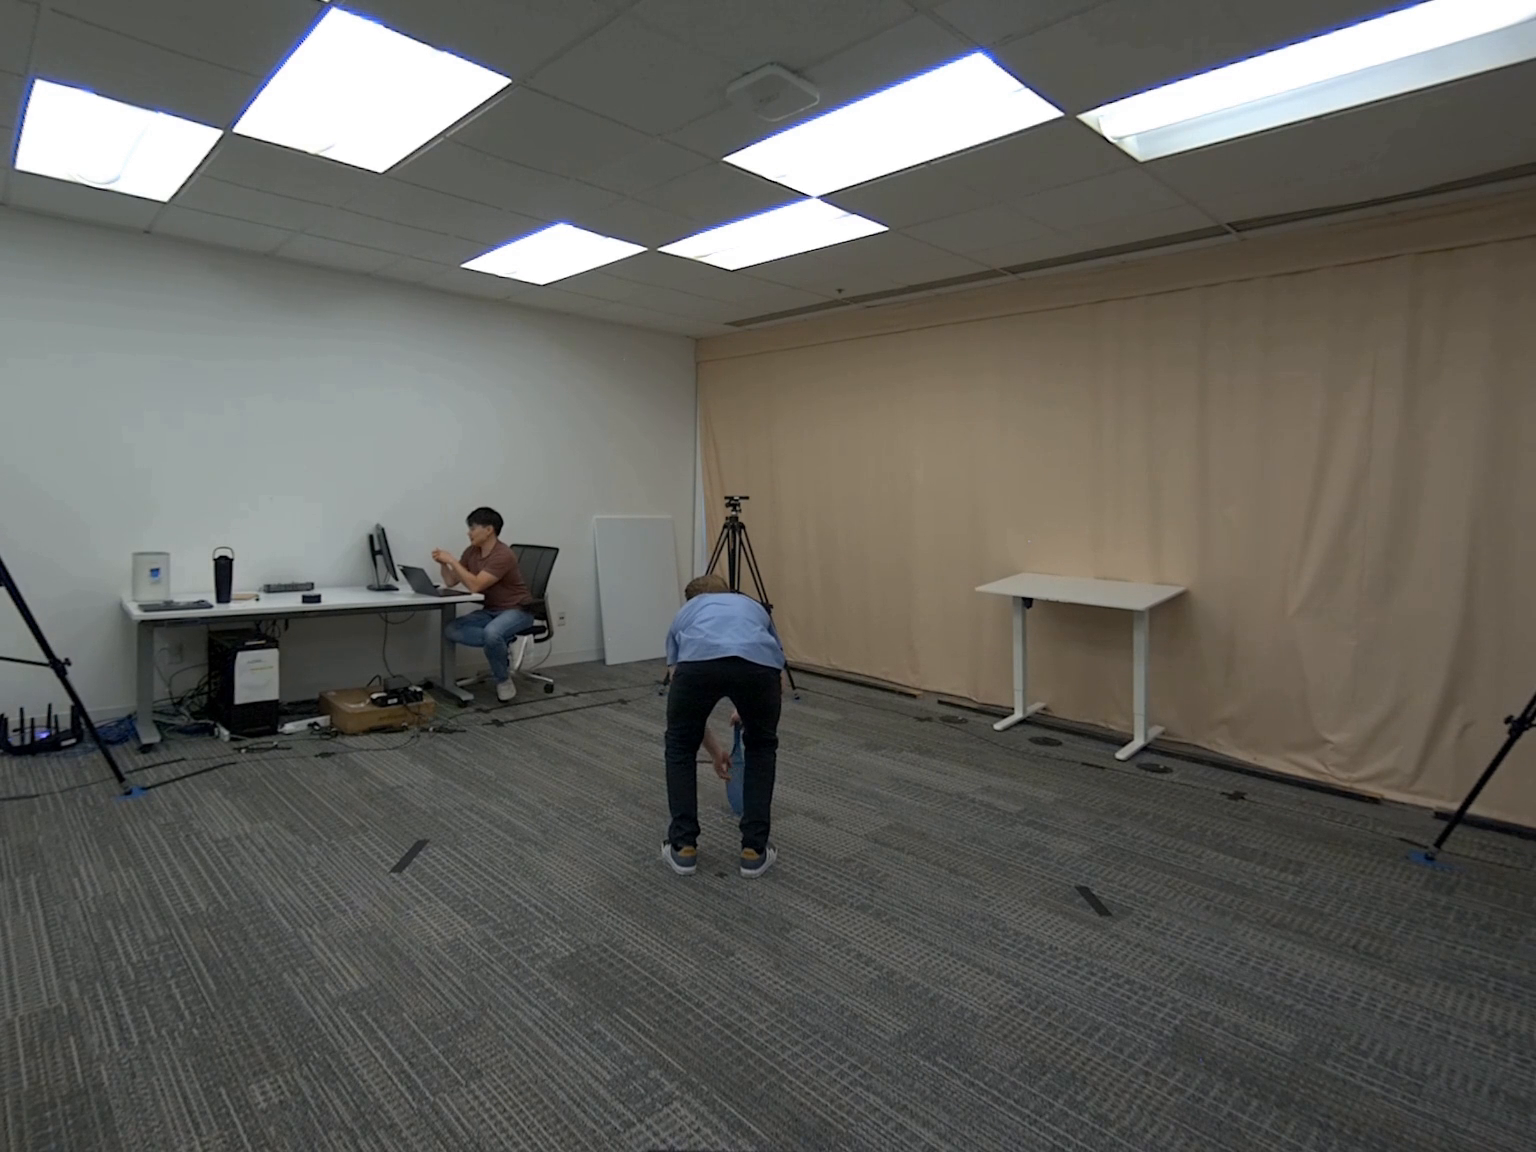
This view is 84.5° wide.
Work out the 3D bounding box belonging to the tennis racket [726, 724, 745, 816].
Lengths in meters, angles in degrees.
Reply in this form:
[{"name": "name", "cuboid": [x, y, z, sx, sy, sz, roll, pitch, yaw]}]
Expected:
[{"name": "tennis racket", "cuboid": [-0.147, 0.837, 3.715, 0.031, 0.432, 0.218, 1, 1, -30]}]
